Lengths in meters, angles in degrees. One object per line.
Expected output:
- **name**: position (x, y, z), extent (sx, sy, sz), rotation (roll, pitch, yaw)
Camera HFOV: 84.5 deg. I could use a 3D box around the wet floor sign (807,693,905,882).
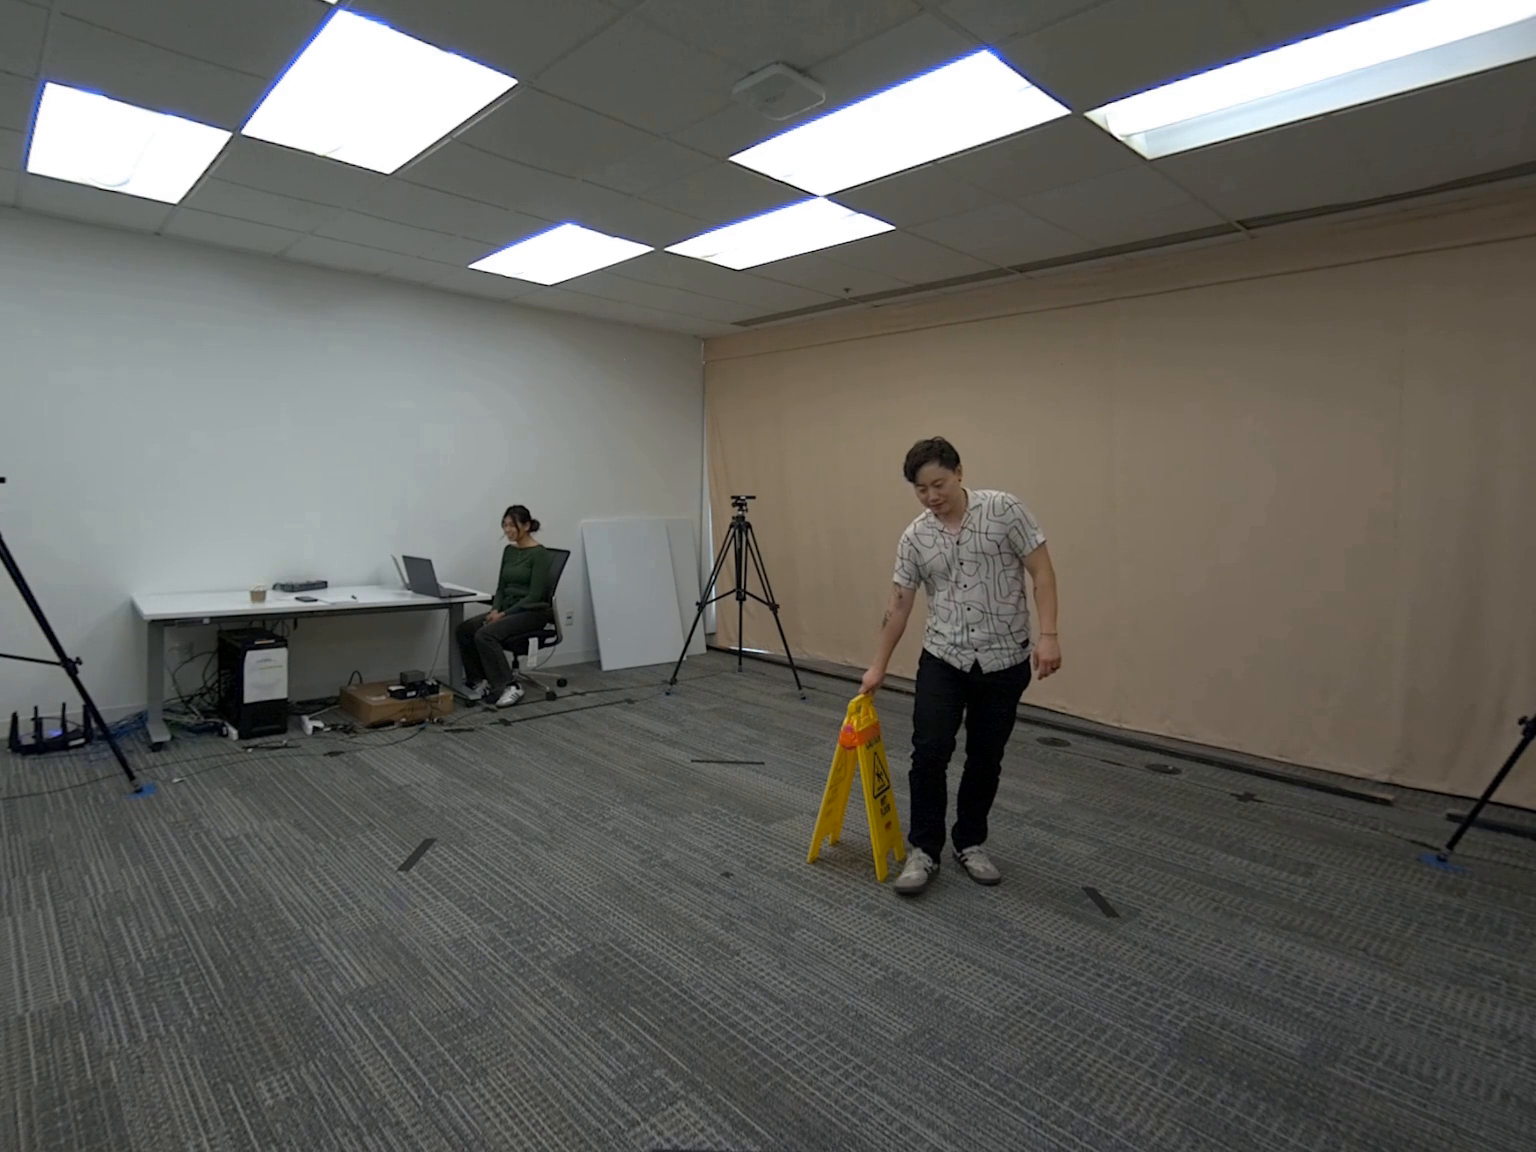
- **wet floor sign**: position (0.339, 0.774, 3.244), extent (0.296, 0.645, 0.277), rotation (2, 2, 29)
